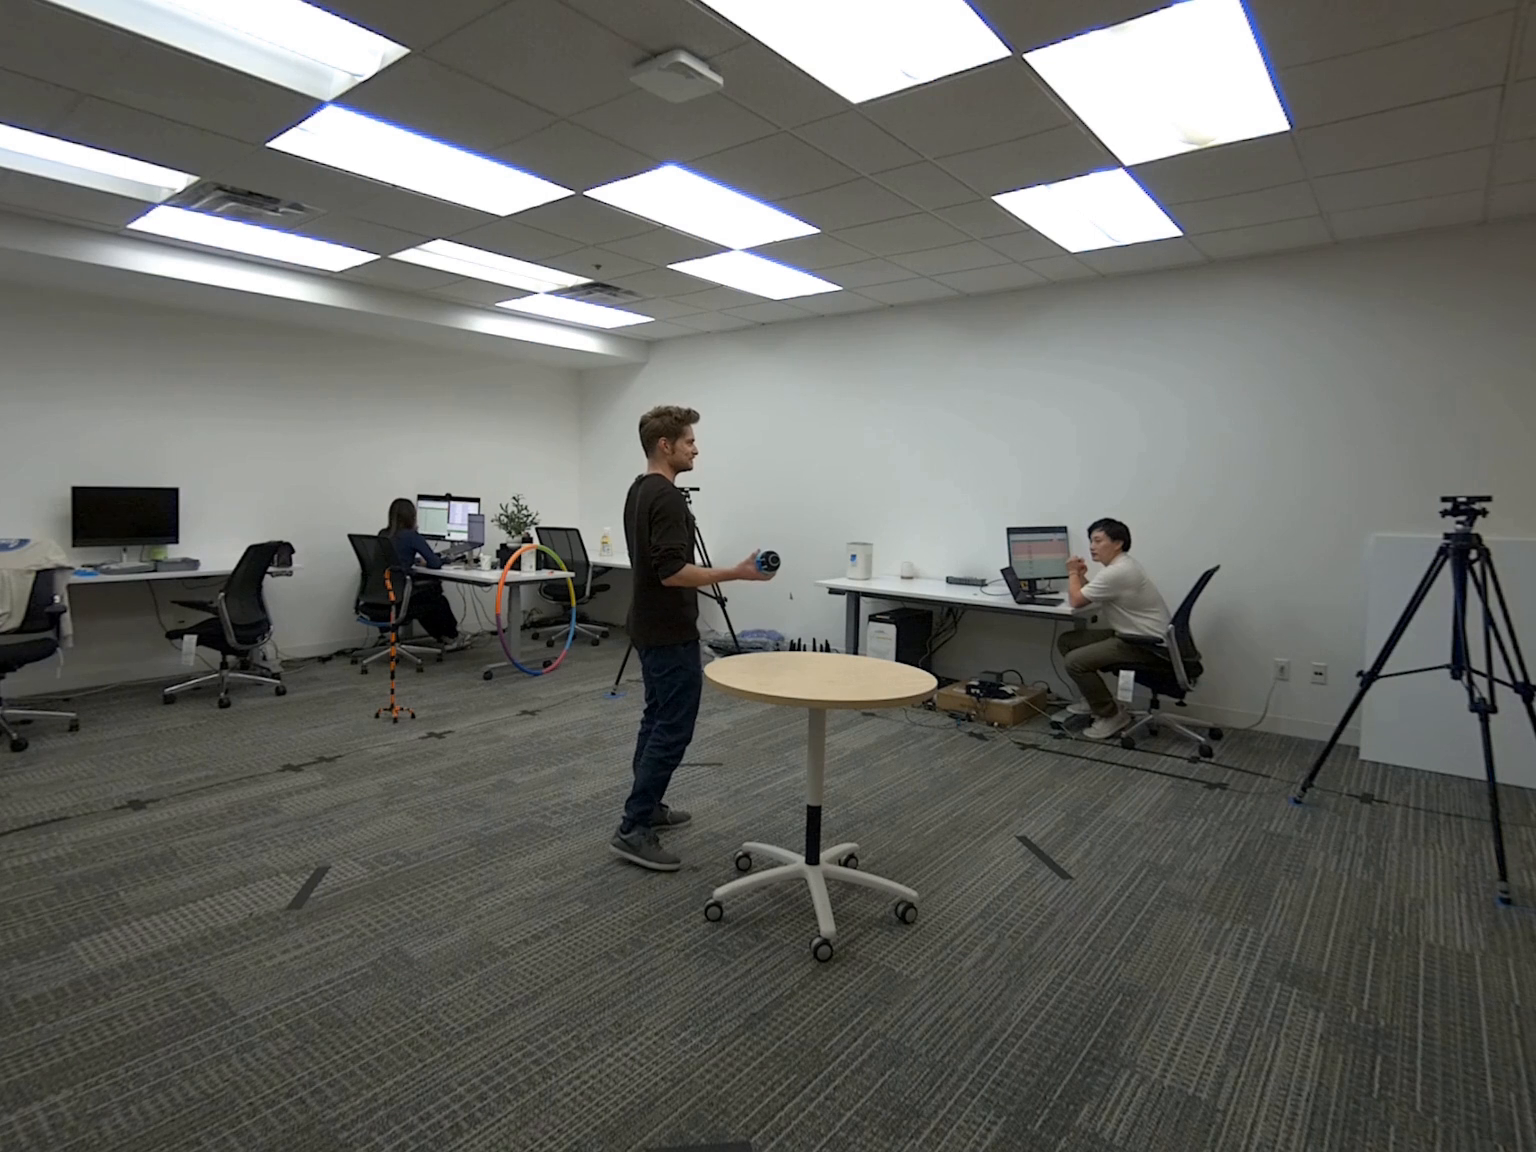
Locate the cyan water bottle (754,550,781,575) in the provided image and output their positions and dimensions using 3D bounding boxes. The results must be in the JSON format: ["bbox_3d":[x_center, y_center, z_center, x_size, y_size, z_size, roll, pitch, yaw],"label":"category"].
[{"bbox_3d":[-0.023,-0.058,3.199,0.092,0.092,0.285,0,2,-7],"label":"cyan water bottle"}]
